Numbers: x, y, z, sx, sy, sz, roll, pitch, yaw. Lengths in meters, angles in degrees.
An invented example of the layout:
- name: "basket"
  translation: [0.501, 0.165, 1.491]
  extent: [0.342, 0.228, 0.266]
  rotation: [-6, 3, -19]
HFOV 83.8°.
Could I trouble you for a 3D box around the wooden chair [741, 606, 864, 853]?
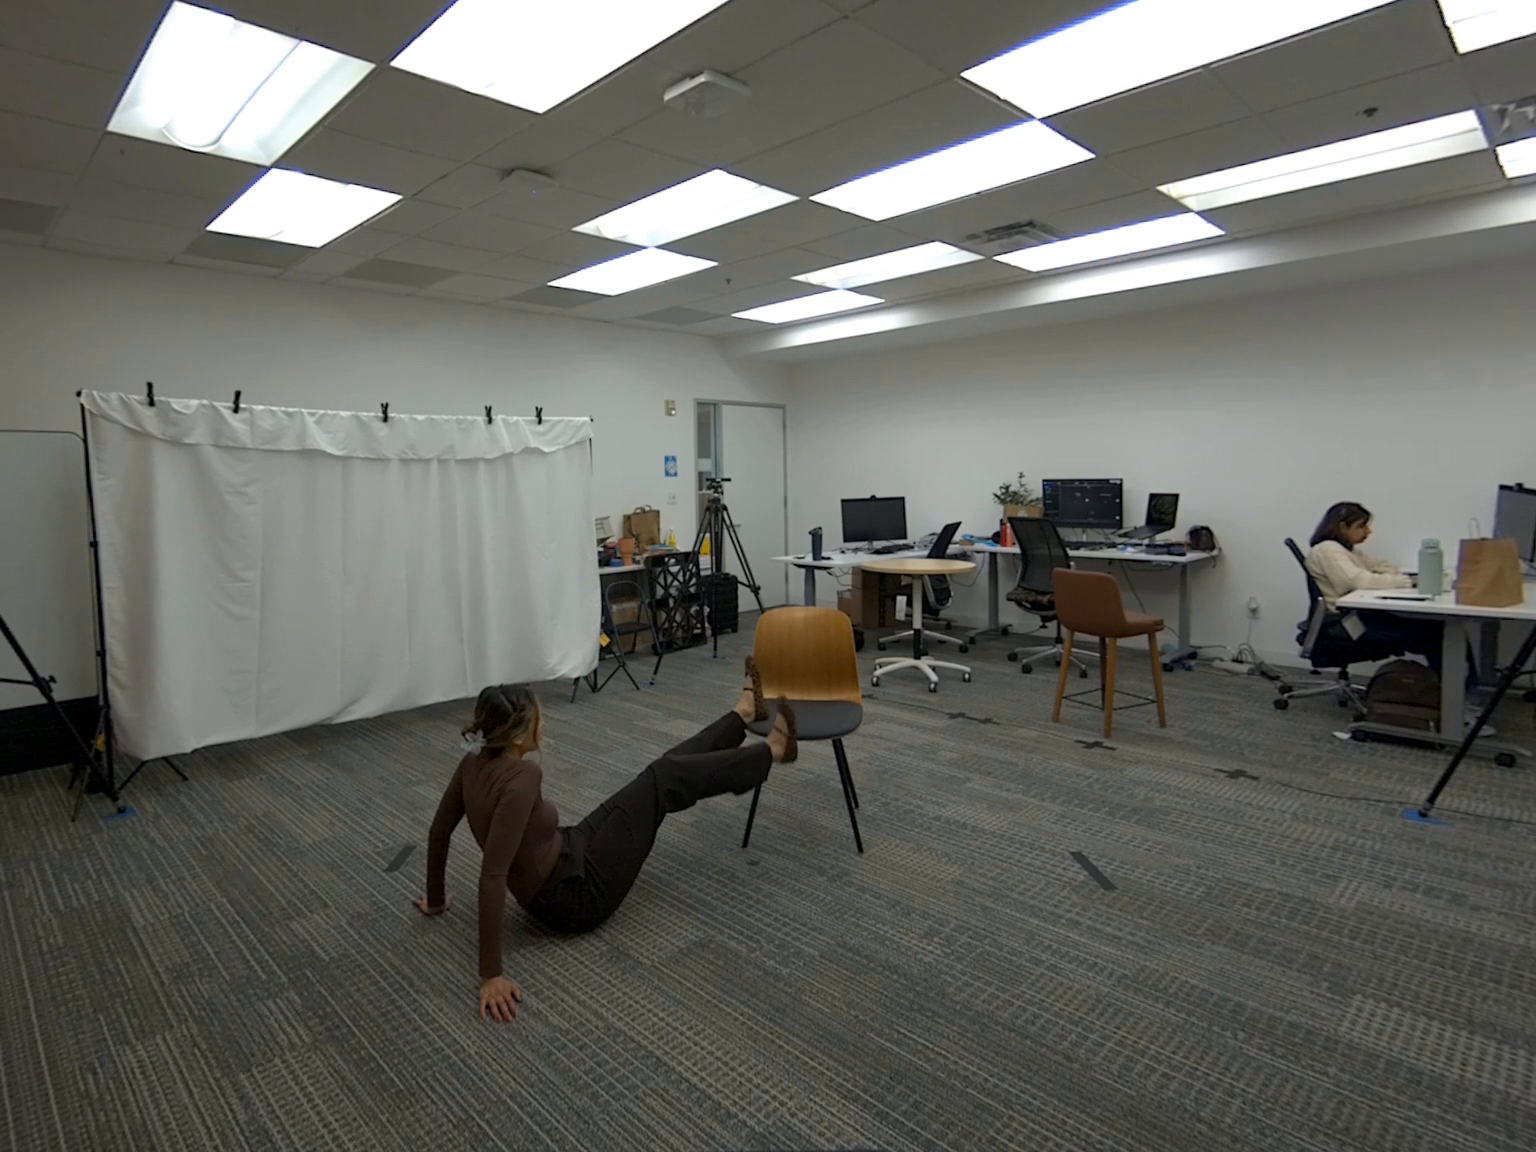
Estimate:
- name: "wooden chair"
  translation: [0.139, 0.578, 3.382]
  extent: [0.482, 0.877, 0.519]
  rotation: [0, 0, 7]
